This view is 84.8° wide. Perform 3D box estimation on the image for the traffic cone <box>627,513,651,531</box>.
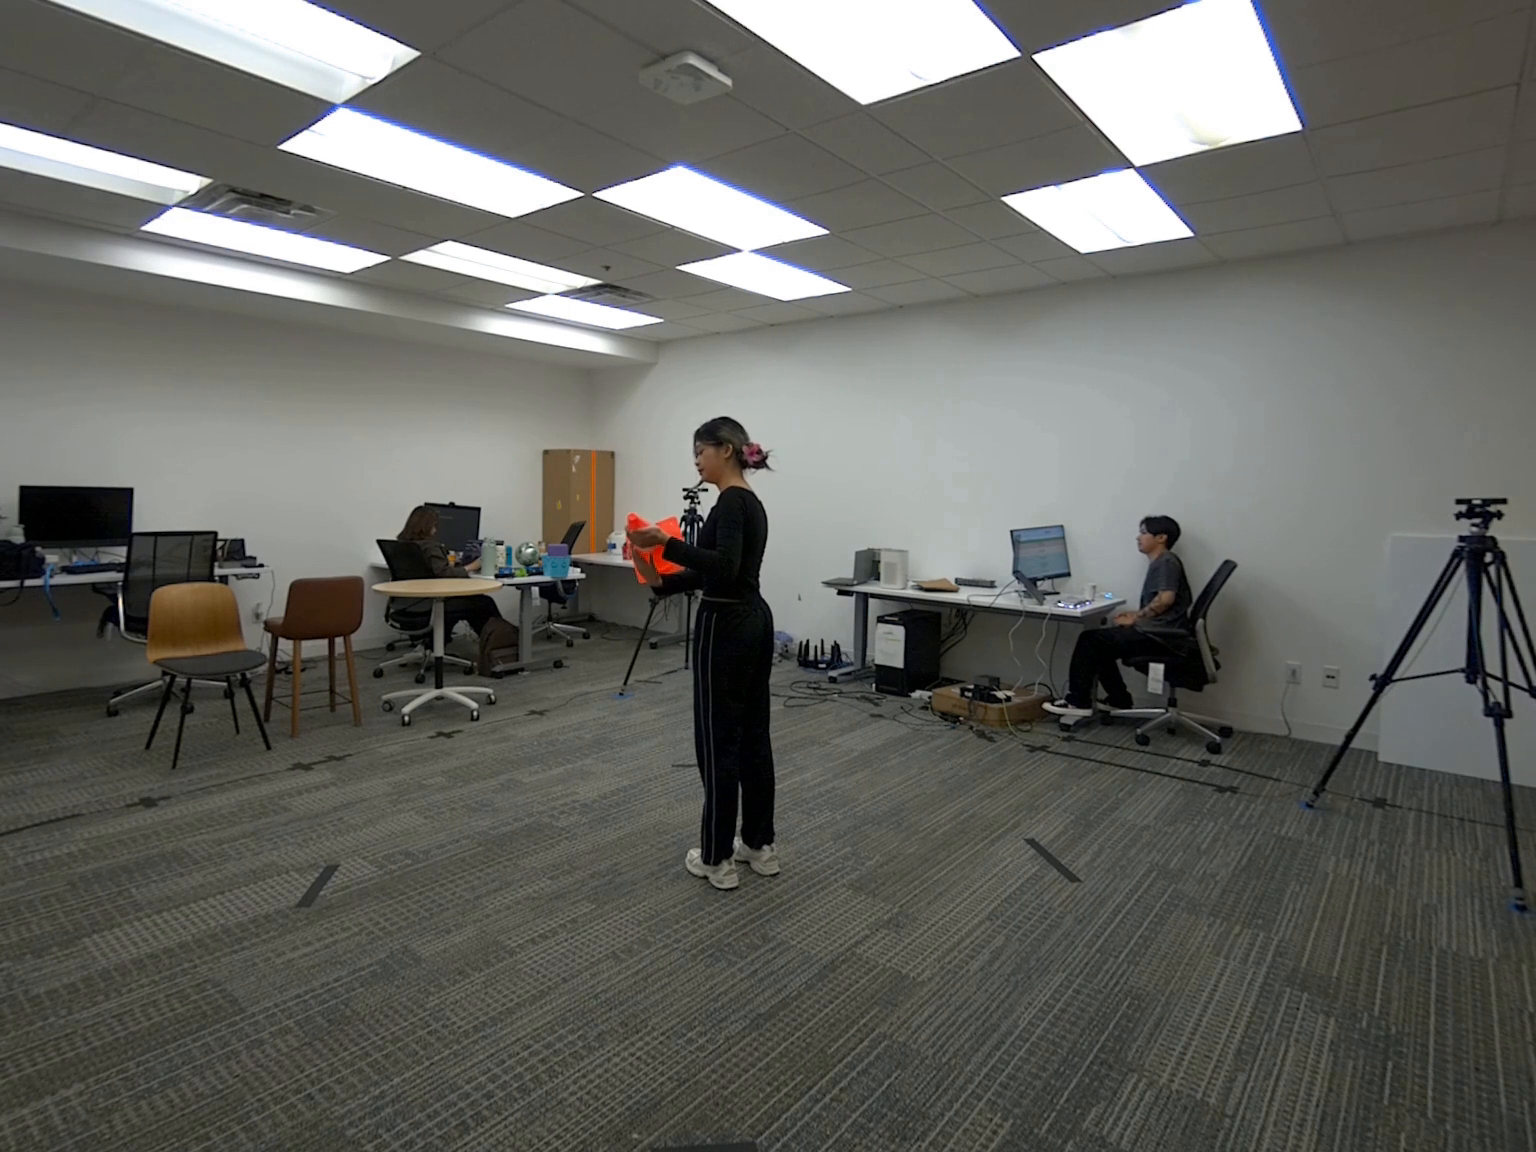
[{"bbox_3d":[-0.422,-0.138,2.880,0.205,0.207,0.376,-18,-15,0],"label":"traffic cone"}]
